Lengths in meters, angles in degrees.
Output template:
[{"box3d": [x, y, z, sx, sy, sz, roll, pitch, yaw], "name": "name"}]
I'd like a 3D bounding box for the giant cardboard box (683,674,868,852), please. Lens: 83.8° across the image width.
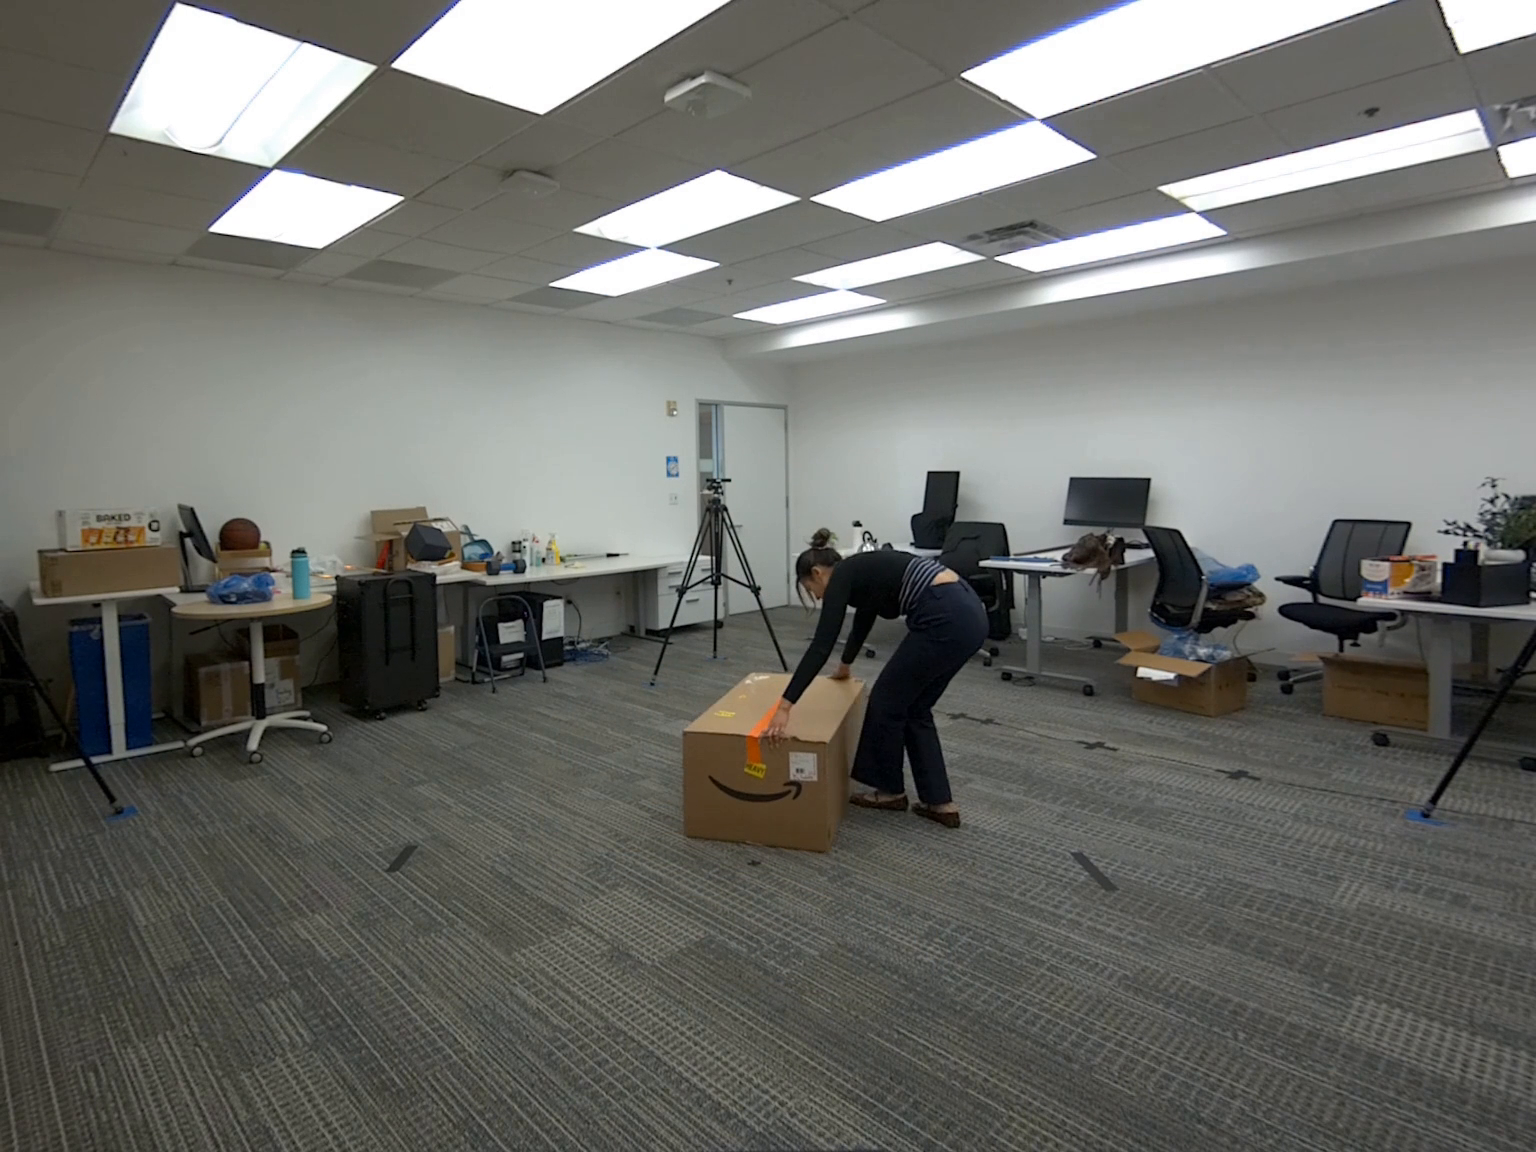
[{"box3d": [0.069, 0.754, 3.731, 0.587, 0.424, 1.014, 1, 6, 15], "name": "giant cardboard box"}]
